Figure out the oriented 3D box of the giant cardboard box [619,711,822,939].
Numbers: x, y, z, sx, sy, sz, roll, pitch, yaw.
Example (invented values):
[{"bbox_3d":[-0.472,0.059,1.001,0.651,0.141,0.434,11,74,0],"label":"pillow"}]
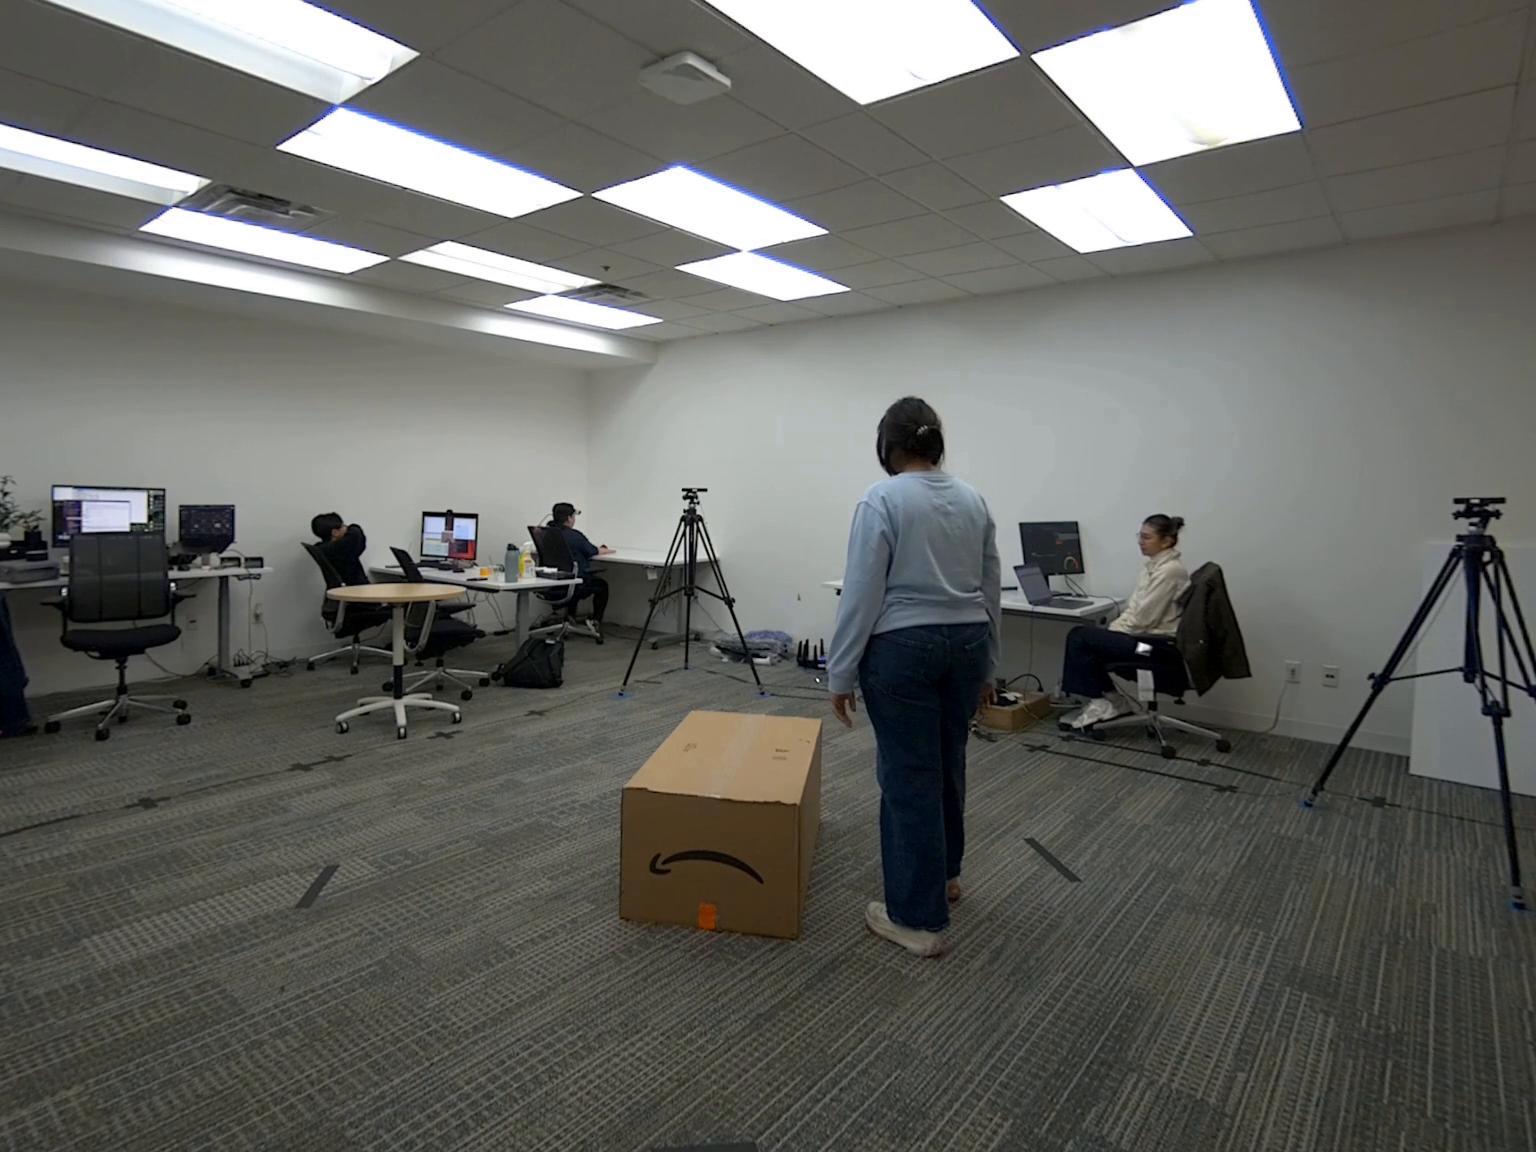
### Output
[{"bbox_3d":[-0.136,0.848,3.164,0.584,0.424,1.018,2,5,9],"label":"giant cardboard box"}]
